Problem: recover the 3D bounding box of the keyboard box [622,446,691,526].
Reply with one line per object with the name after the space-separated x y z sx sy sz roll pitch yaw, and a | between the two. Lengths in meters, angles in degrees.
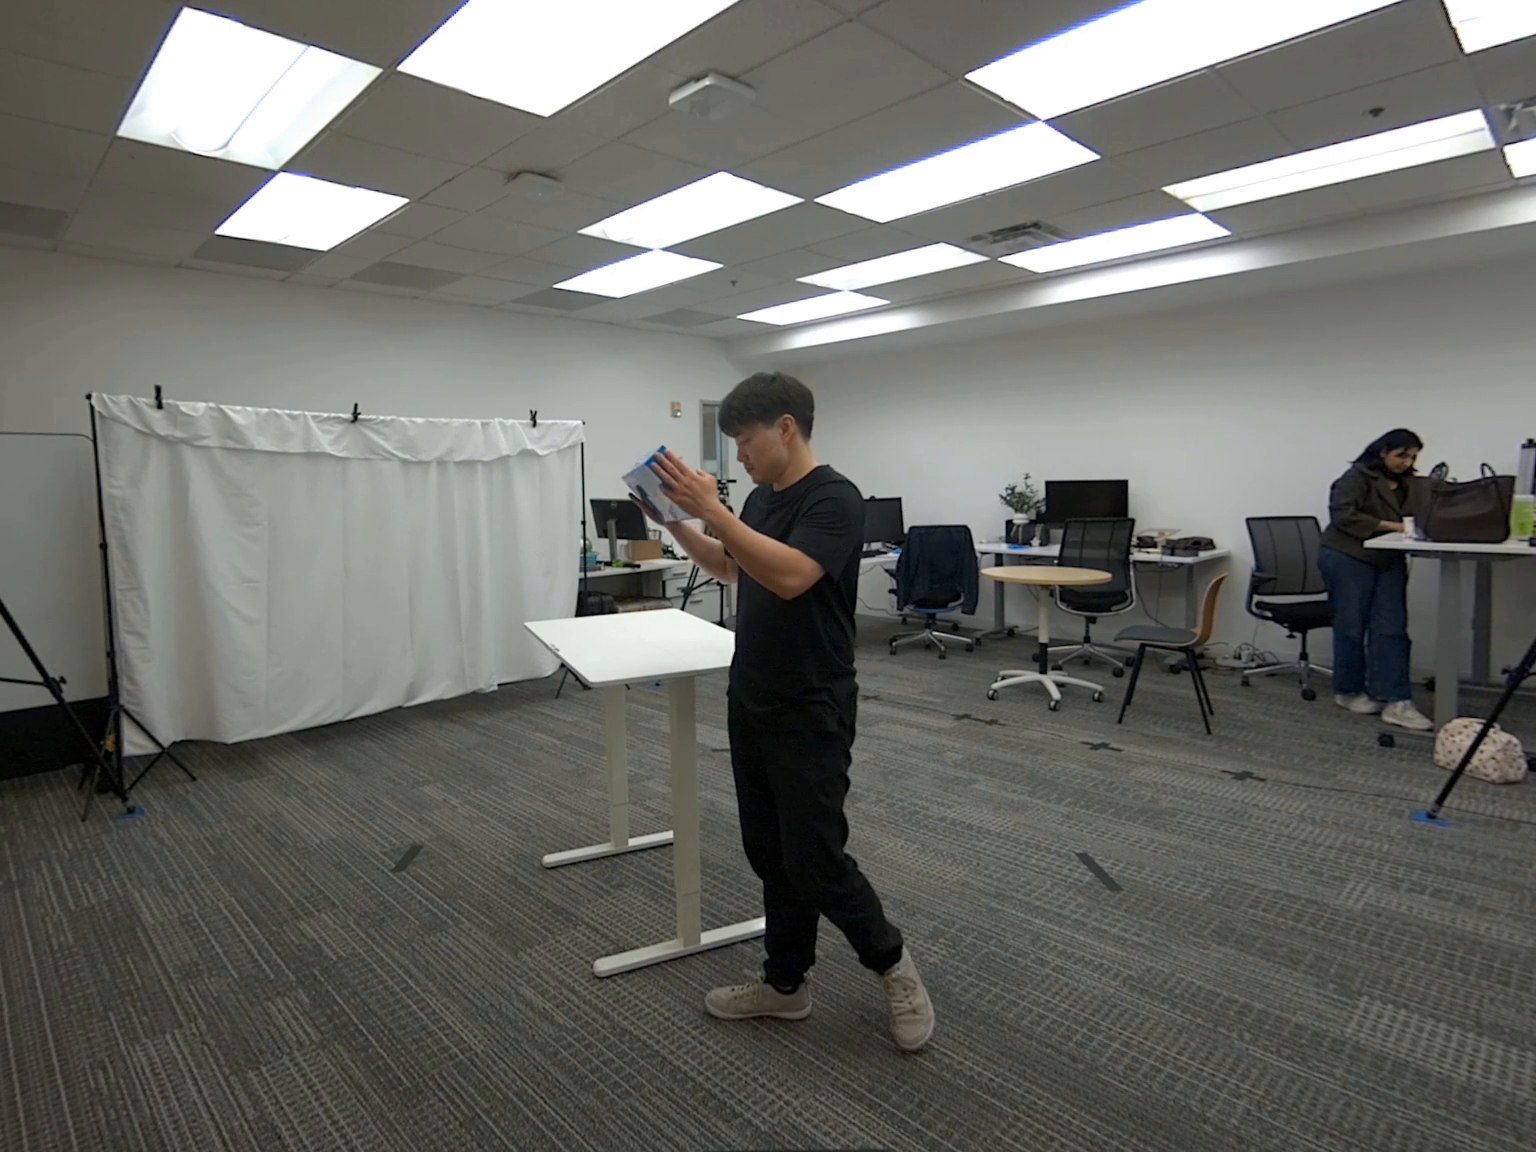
-0.249 -0.215 2.103 0.059 0.174 0.443 -46 12 -11 | keyboard box
